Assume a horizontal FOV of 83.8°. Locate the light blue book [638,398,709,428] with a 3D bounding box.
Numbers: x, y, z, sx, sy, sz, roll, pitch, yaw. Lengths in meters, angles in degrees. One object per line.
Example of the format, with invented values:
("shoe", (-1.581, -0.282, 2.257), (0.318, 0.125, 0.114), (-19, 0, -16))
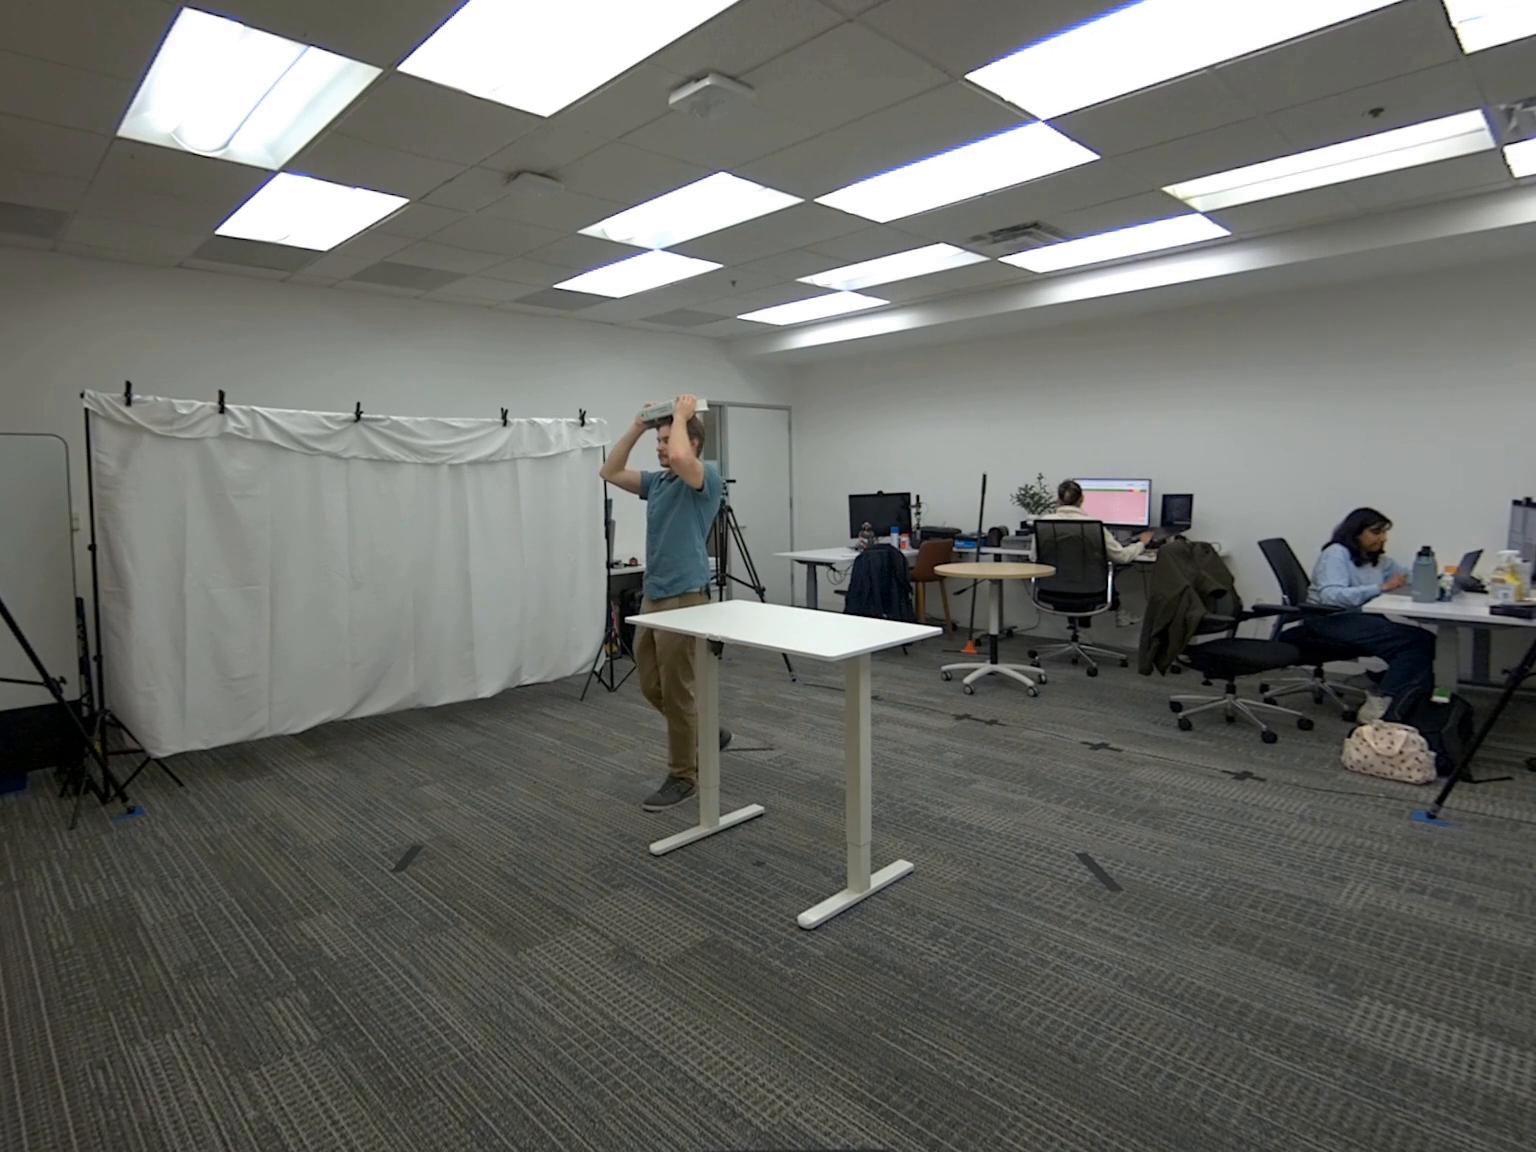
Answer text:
("light blue book", (-0.411, -0.722, 3.738), (0.187, 0.059, 0.268), (-14, 8, -40))
